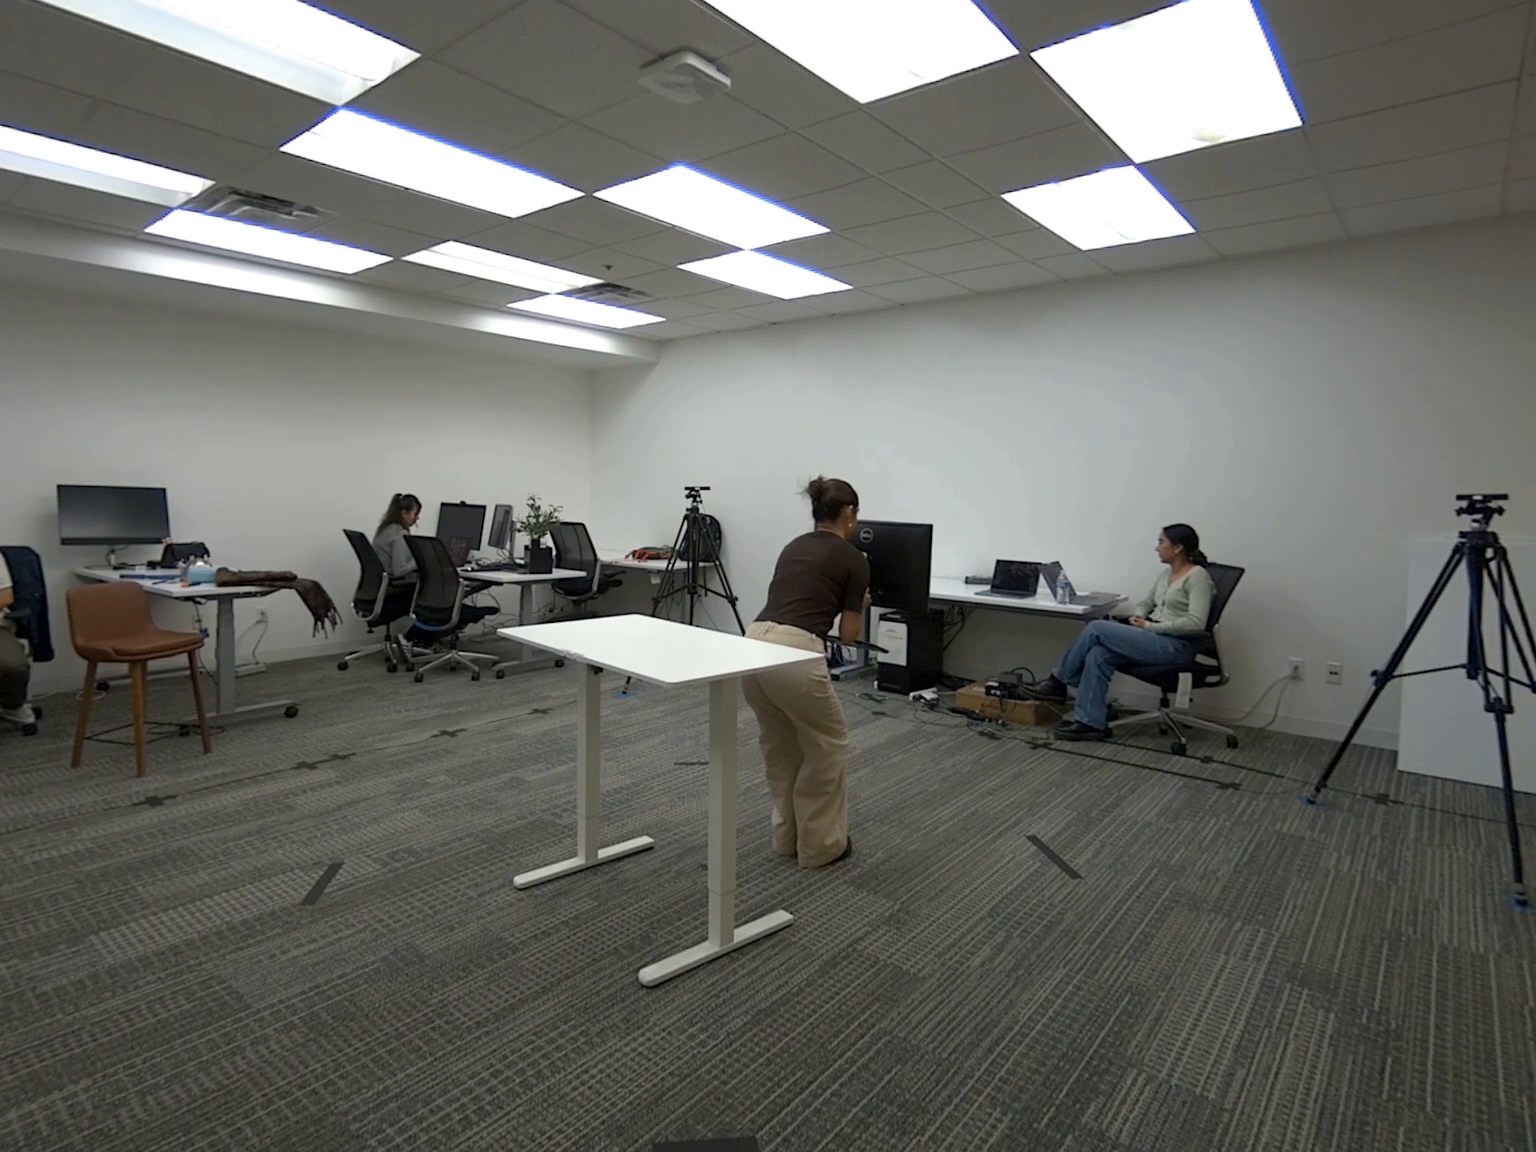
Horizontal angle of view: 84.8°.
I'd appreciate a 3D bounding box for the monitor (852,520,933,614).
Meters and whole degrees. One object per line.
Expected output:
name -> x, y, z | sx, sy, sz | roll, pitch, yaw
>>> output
monitor -> 0.374, 0.026, 3.451 | 0.557, 0.526, 0.180 | 6, -9, 35
